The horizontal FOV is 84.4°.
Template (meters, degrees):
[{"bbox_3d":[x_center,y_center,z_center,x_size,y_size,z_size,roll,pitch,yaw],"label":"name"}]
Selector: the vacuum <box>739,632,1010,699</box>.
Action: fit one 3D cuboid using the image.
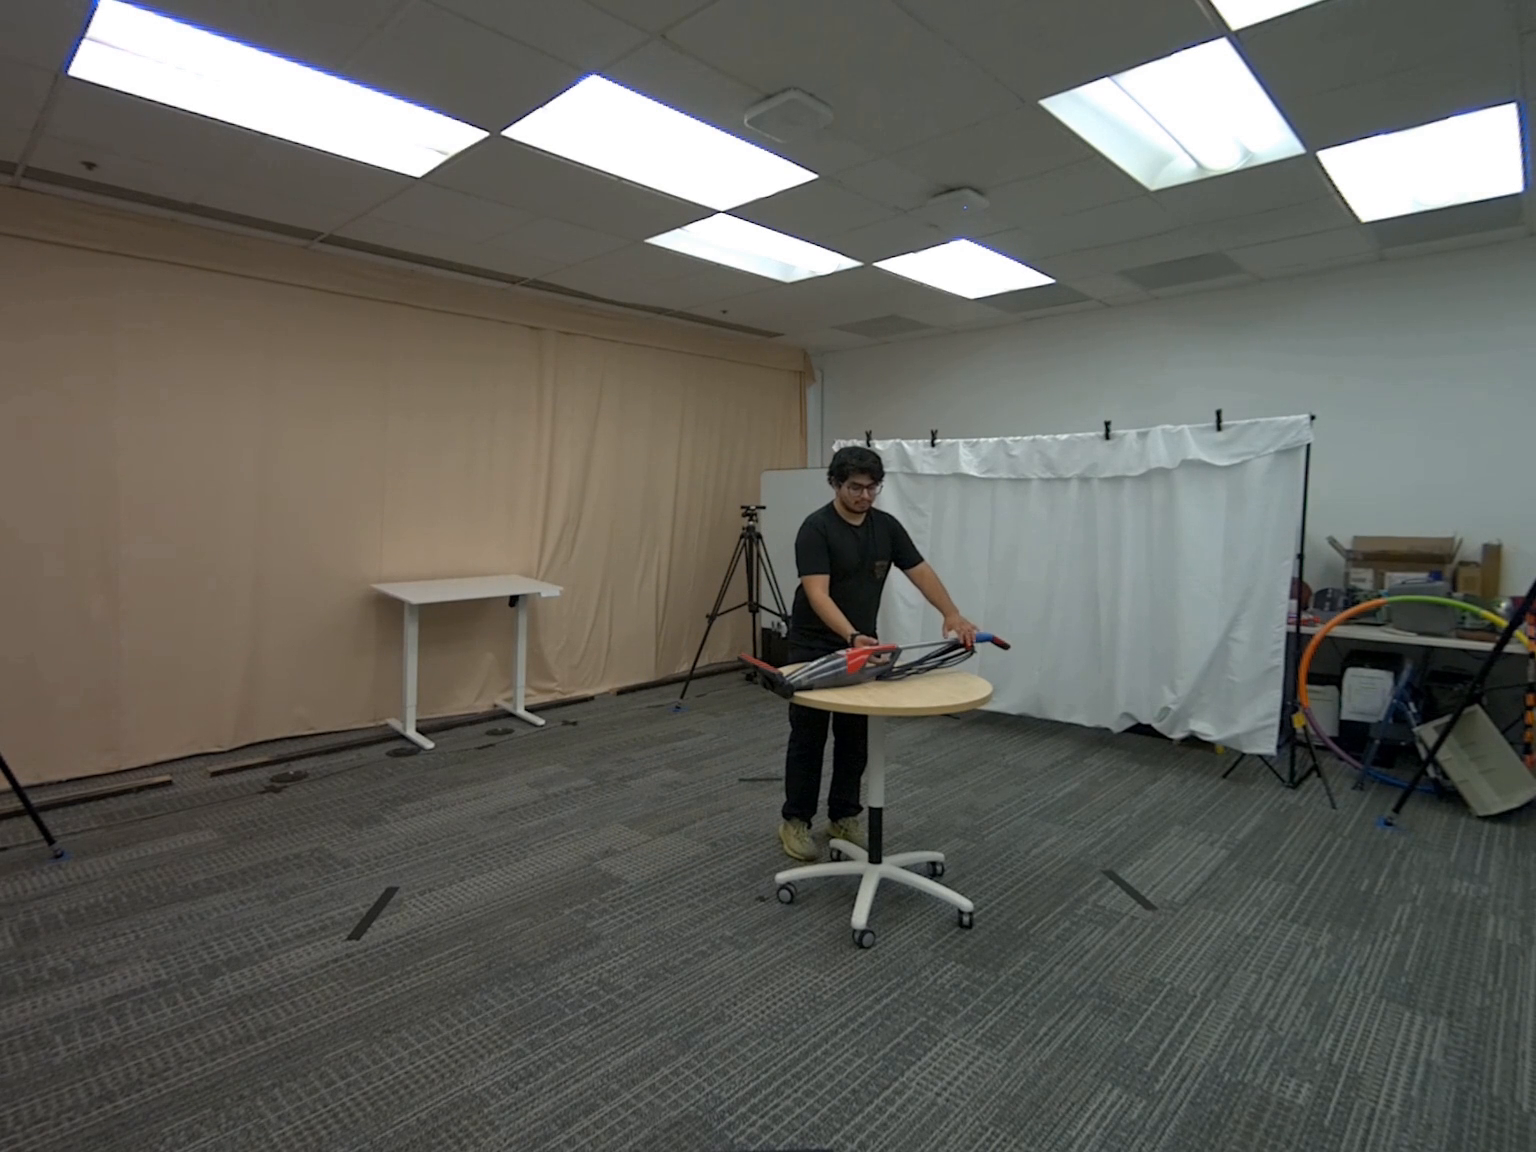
[{"bbox_3d":[0.451,0.304,2.956,1.023,0.143,0.261,-4,14,-28],"label":"vacuum"}]
